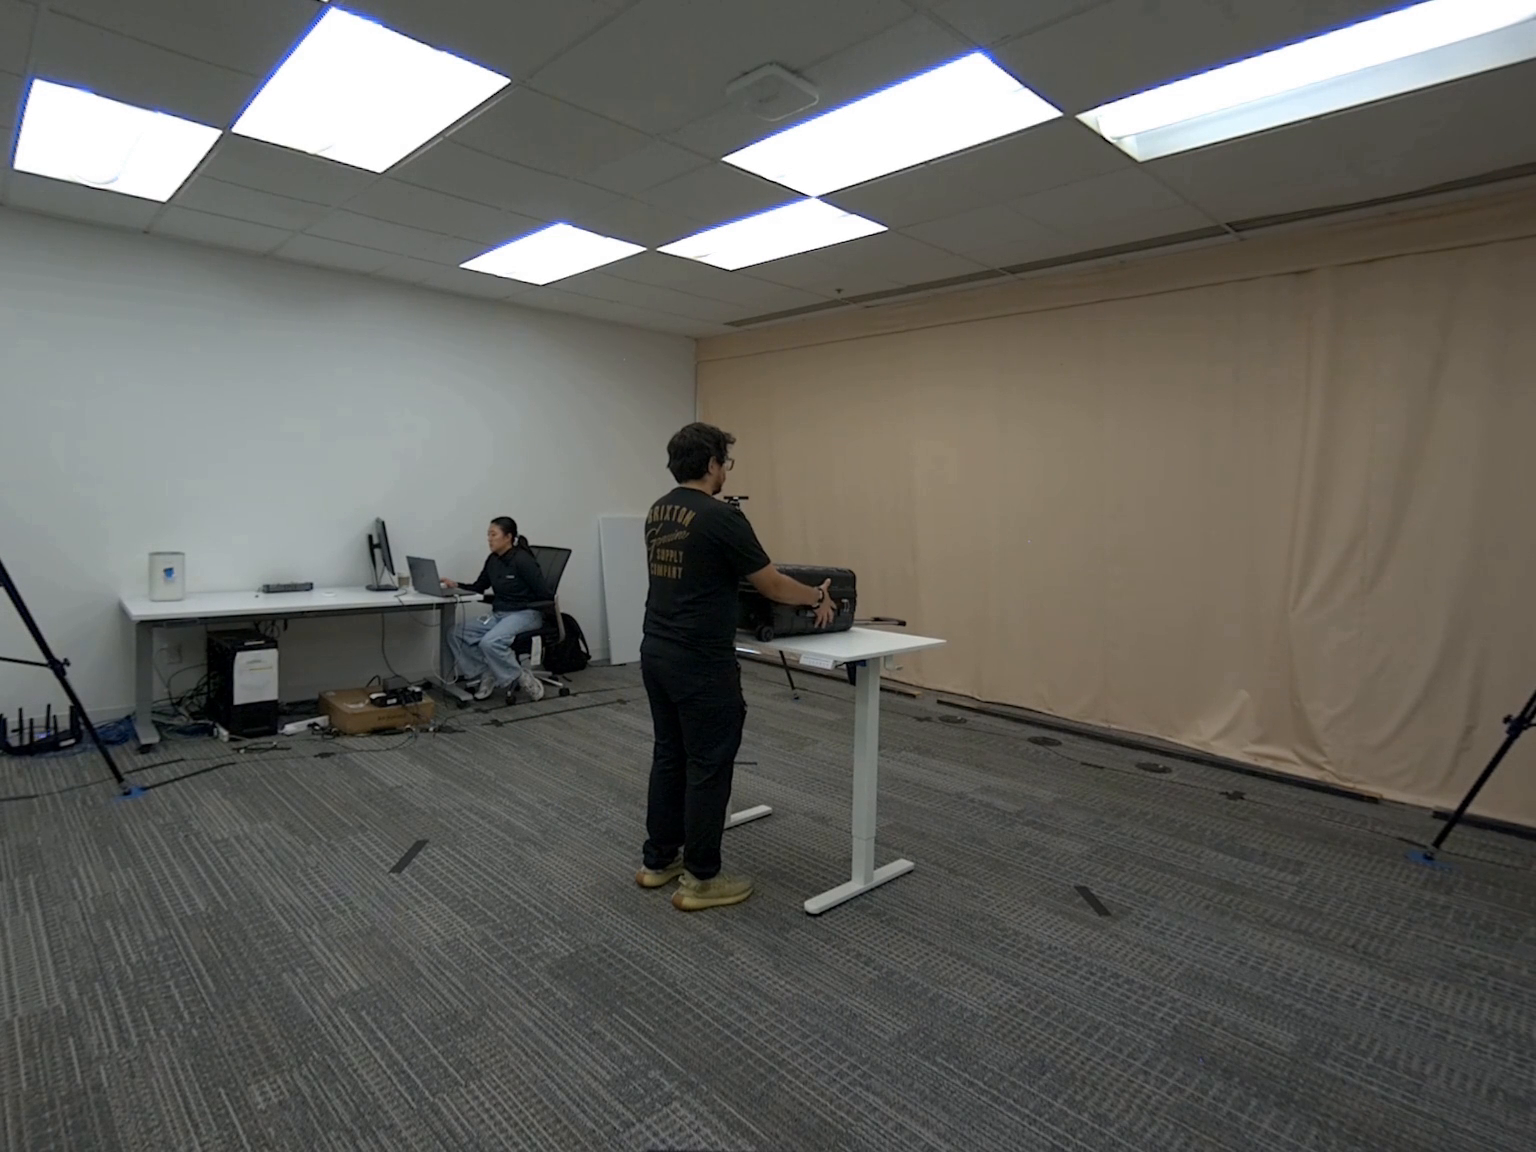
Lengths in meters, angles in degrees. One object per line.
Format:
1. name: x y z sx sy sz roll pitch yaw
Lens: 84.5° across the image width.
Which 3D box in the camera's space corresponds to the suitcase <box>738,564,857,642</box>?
1. suitcase: 0.213 0.088 3.377 0.956 0.257 0.394 -1 4 -43
